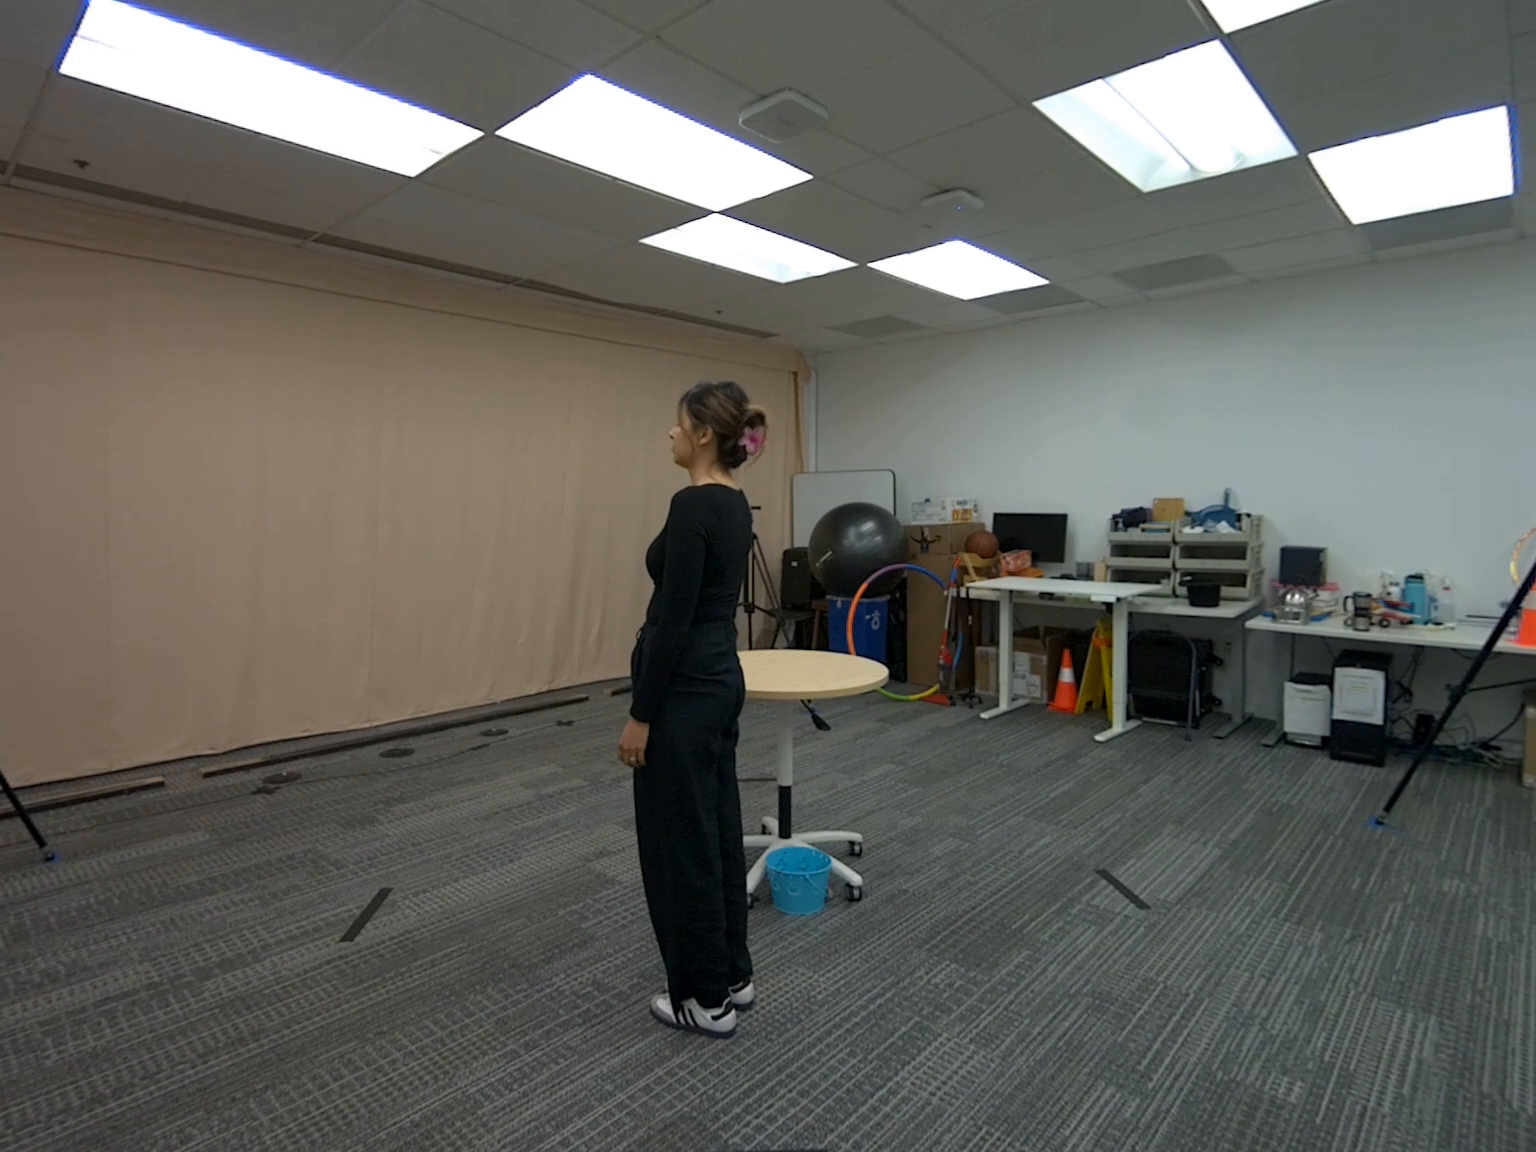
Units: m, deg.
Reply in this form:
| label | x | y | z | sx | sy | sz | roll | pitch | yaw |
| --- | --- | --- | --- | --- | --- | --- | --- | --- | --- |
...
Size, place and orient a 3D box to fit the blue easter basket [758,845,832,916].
| label | x | y | z | sx | sy | sz | roll | pitch | yaw |
| --- | --- | --- | --- | --- | --- | --- | --- | --- | --- |
| blue easter basket | 0.115 | 1.071 | 2.954 | 0.243 | 0.155 | 0.245 | 1 | 5 | -2 |
